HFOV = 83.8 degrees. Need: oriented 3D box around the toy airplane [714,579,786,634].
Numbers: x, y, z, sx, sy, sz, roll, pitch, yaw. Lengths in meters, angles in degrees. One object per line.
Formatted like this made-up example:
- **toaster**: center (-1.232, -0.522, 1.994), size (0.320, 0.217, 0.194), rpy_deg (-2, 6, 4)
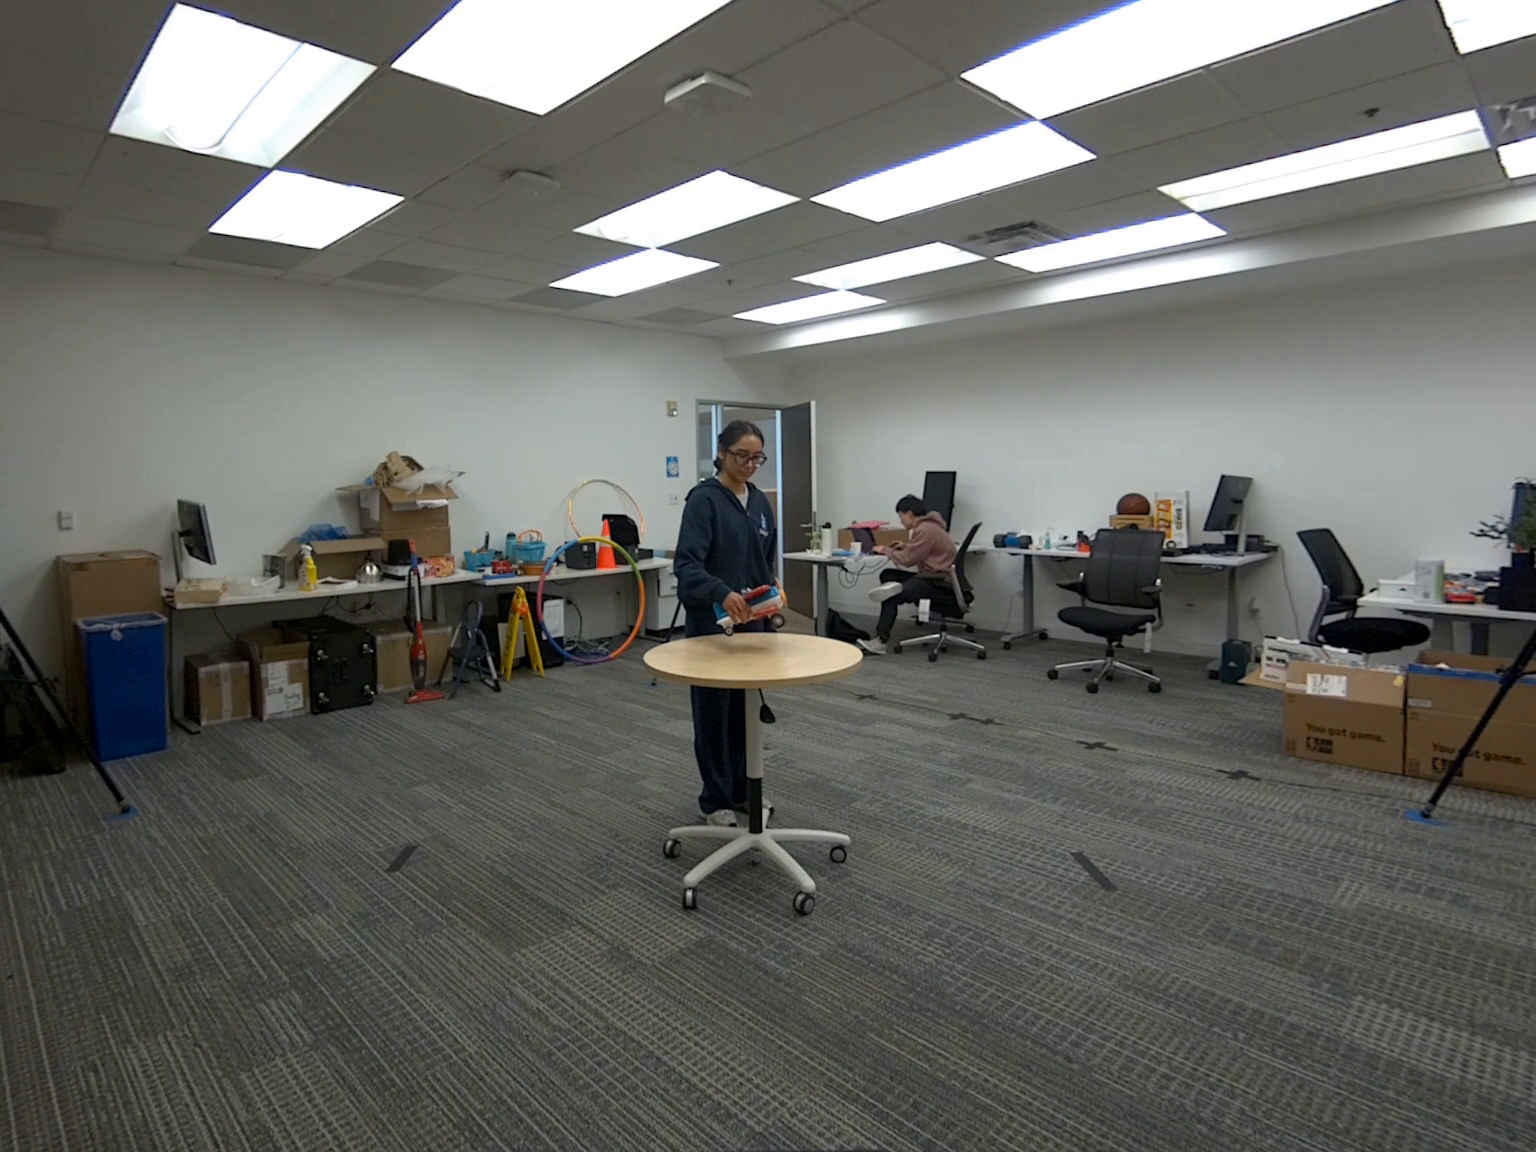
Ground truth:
- **toy airplane**: center (-0.062, 0.126, 3.029), size (0.254, 0.158, 0.254), rpy_deg (-5, -7, -26)
